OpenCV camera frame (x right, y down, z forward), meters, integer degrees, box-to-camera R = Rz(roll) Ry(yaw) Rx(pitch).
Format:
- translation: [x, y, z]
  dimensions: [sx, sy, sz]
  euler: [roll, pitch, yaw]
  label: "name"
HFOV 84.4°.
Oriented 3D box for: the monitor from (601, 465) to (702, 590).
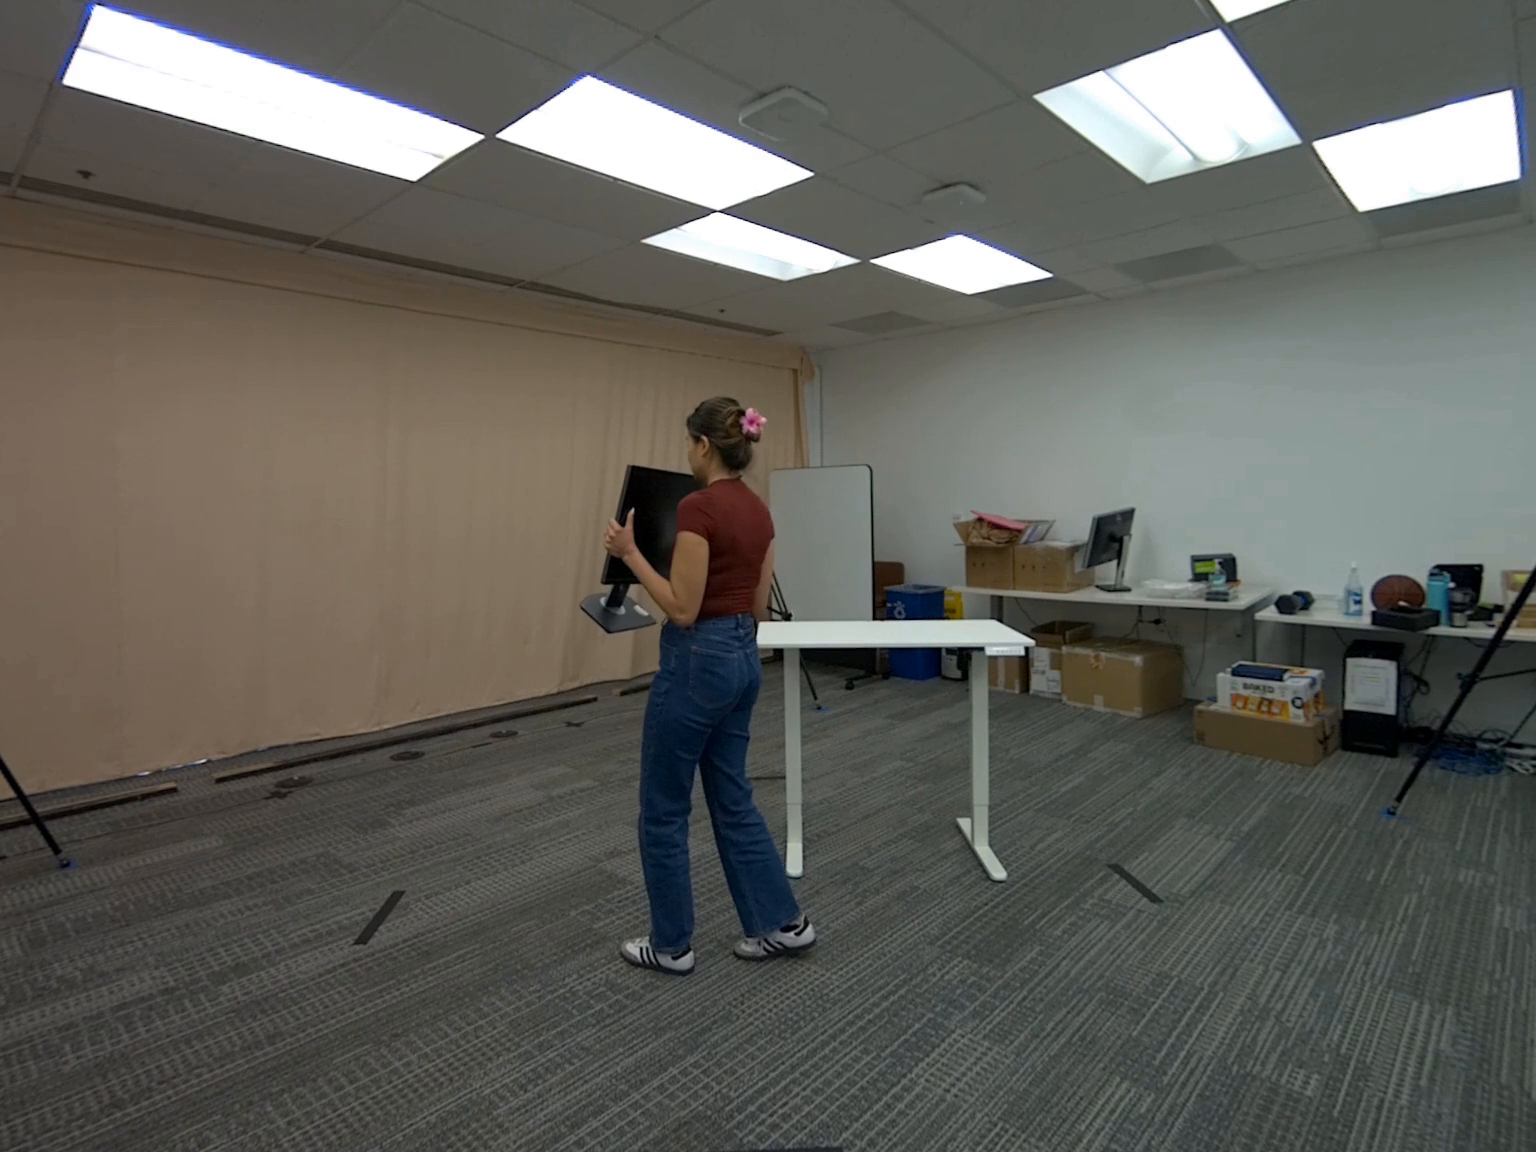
- translation: [-0.371, -0.087, 2.644]
  dimensions: [0.192, 0.522, 0.524]
  euler: [34, 16, 23]
  label: "monitor"
